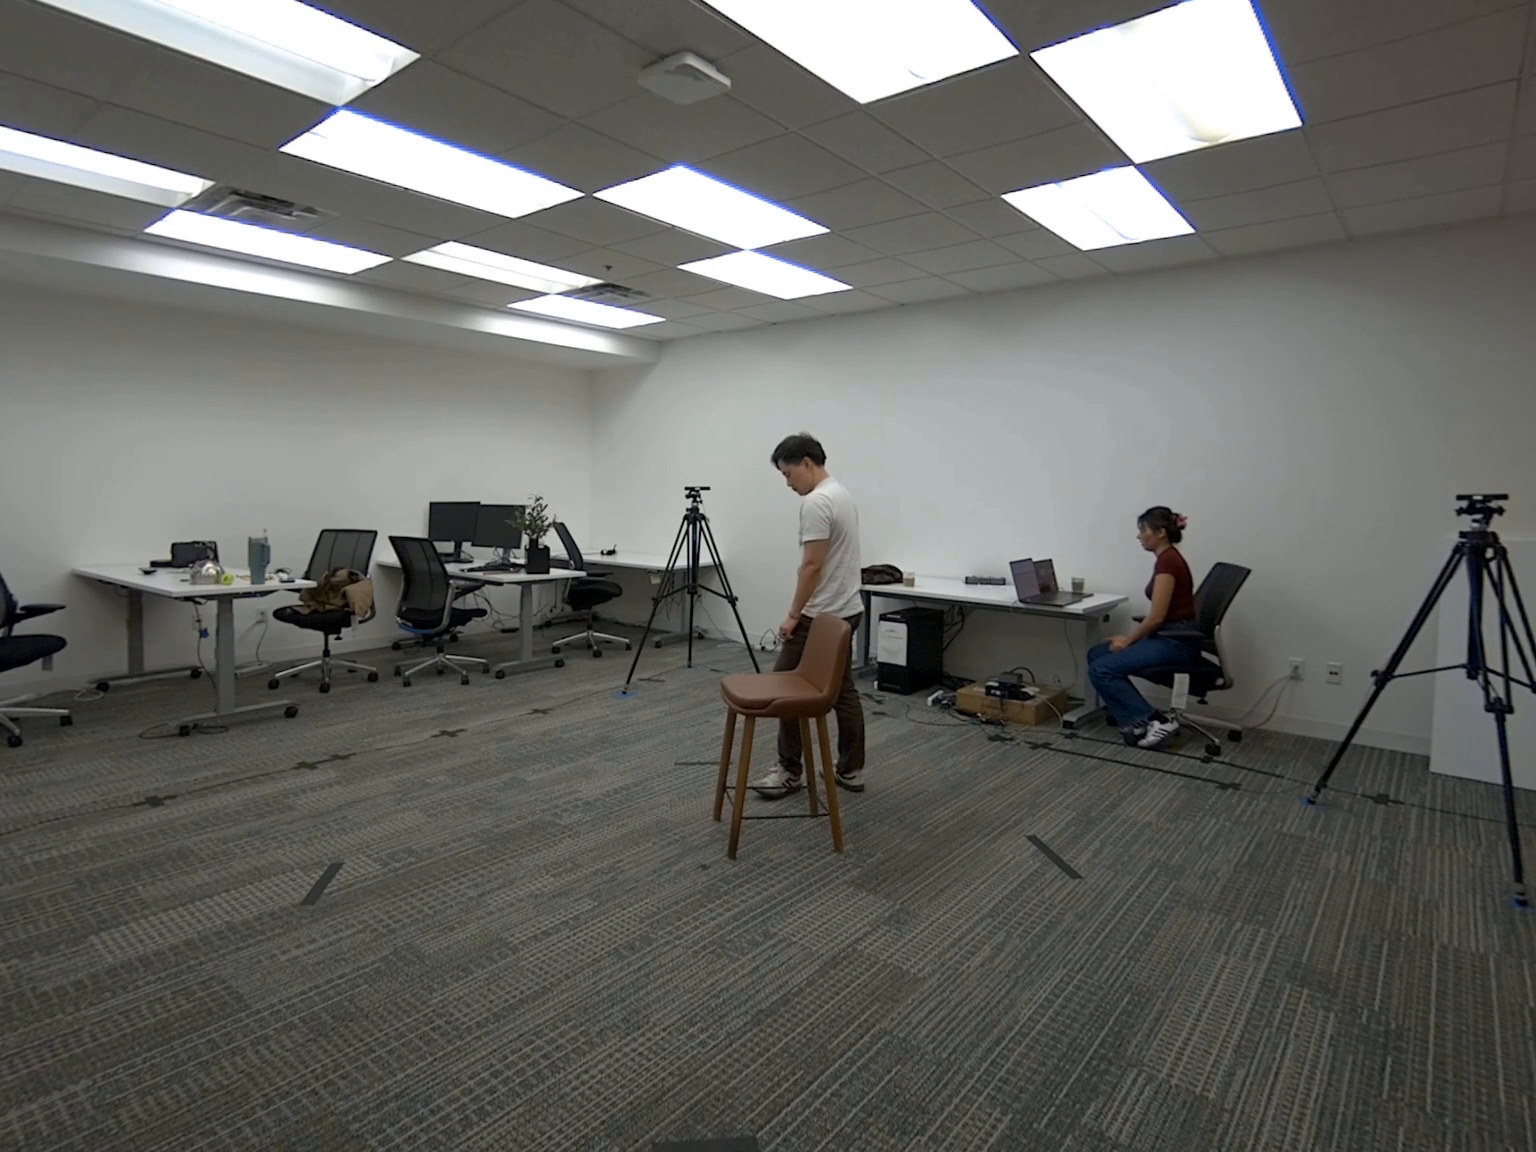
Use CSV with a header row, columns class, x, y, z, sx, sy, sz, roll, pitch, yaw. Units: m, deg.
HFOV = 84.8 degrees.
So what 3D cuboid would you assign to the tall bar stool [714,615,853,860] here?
class,x,y,z,sx,sy,sz,roll,pitch,yaw
tall bar stool,0.036,0.607,3.394,0.462,0.888,0.463,2,3,-11
